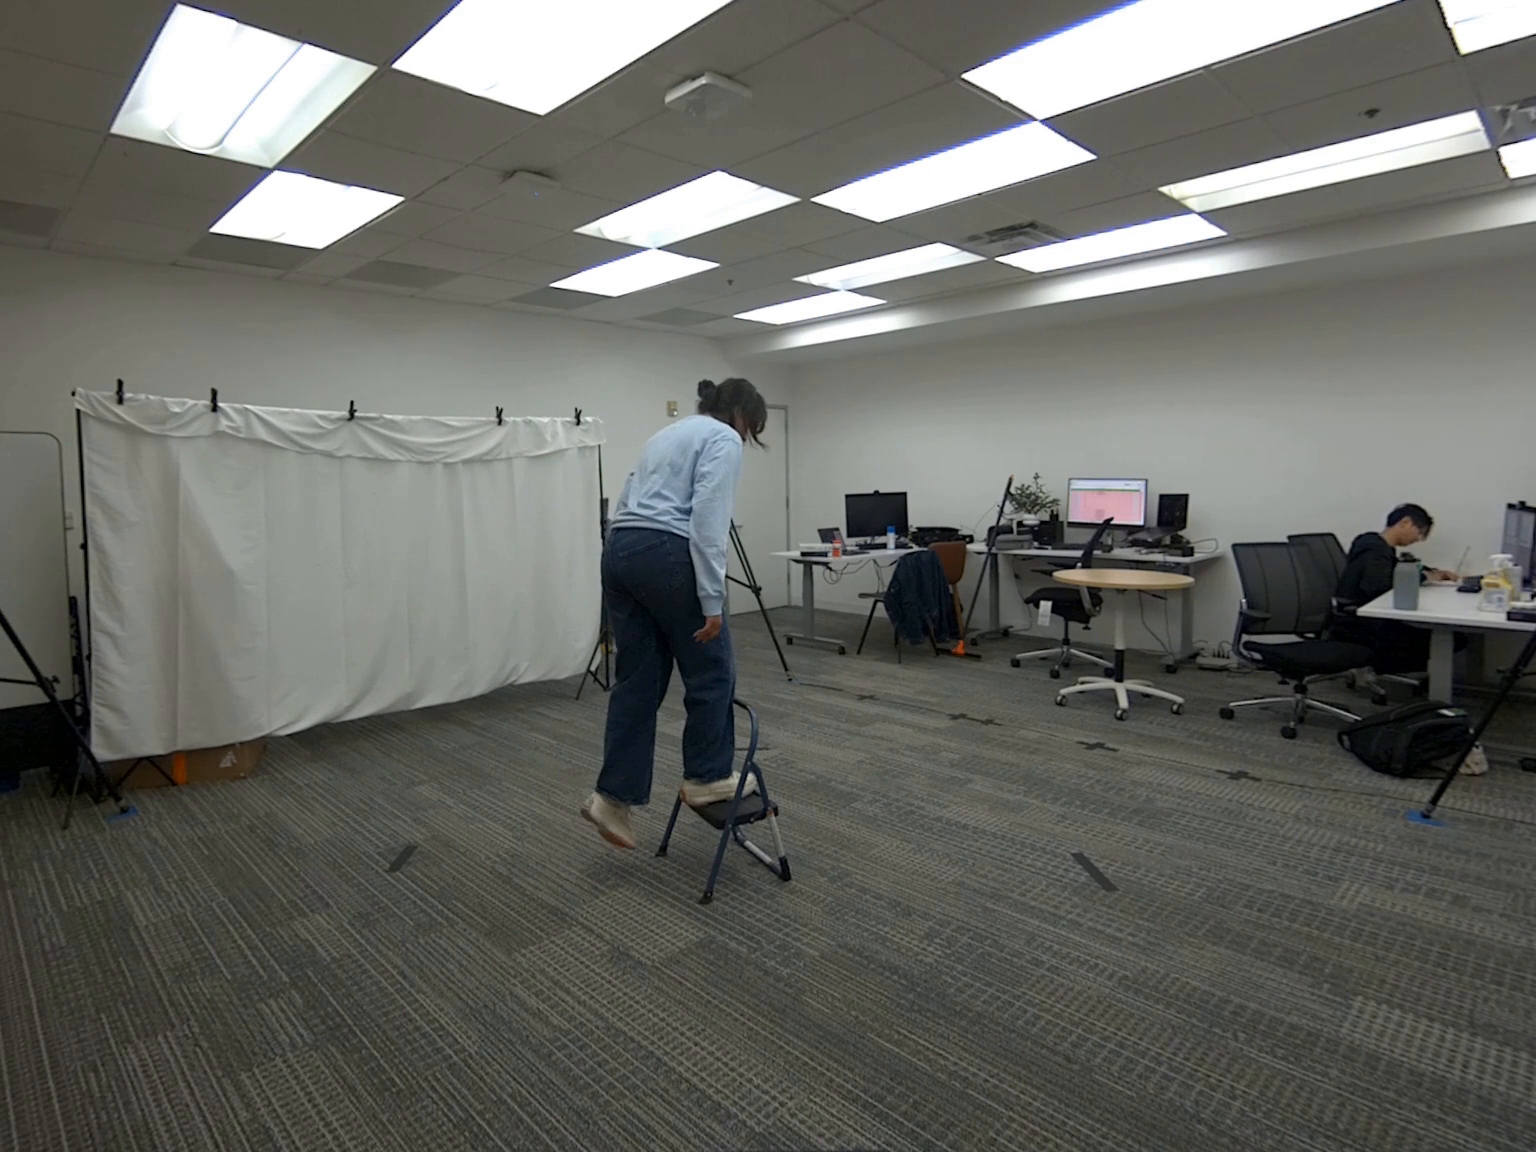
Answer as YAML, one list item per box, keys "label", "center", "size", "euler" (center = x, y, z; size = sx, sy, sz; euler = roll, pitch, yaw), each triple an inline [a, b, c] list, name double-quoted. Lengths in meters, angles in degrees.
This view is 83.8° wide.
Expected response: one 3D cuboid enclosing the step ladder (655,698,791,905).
- label: "step ladder"
  center: [-0.167, 0.752, 3.061]
  size: [0.341, 0.604, 0.442]
  euler: [-4, 5, -28]
